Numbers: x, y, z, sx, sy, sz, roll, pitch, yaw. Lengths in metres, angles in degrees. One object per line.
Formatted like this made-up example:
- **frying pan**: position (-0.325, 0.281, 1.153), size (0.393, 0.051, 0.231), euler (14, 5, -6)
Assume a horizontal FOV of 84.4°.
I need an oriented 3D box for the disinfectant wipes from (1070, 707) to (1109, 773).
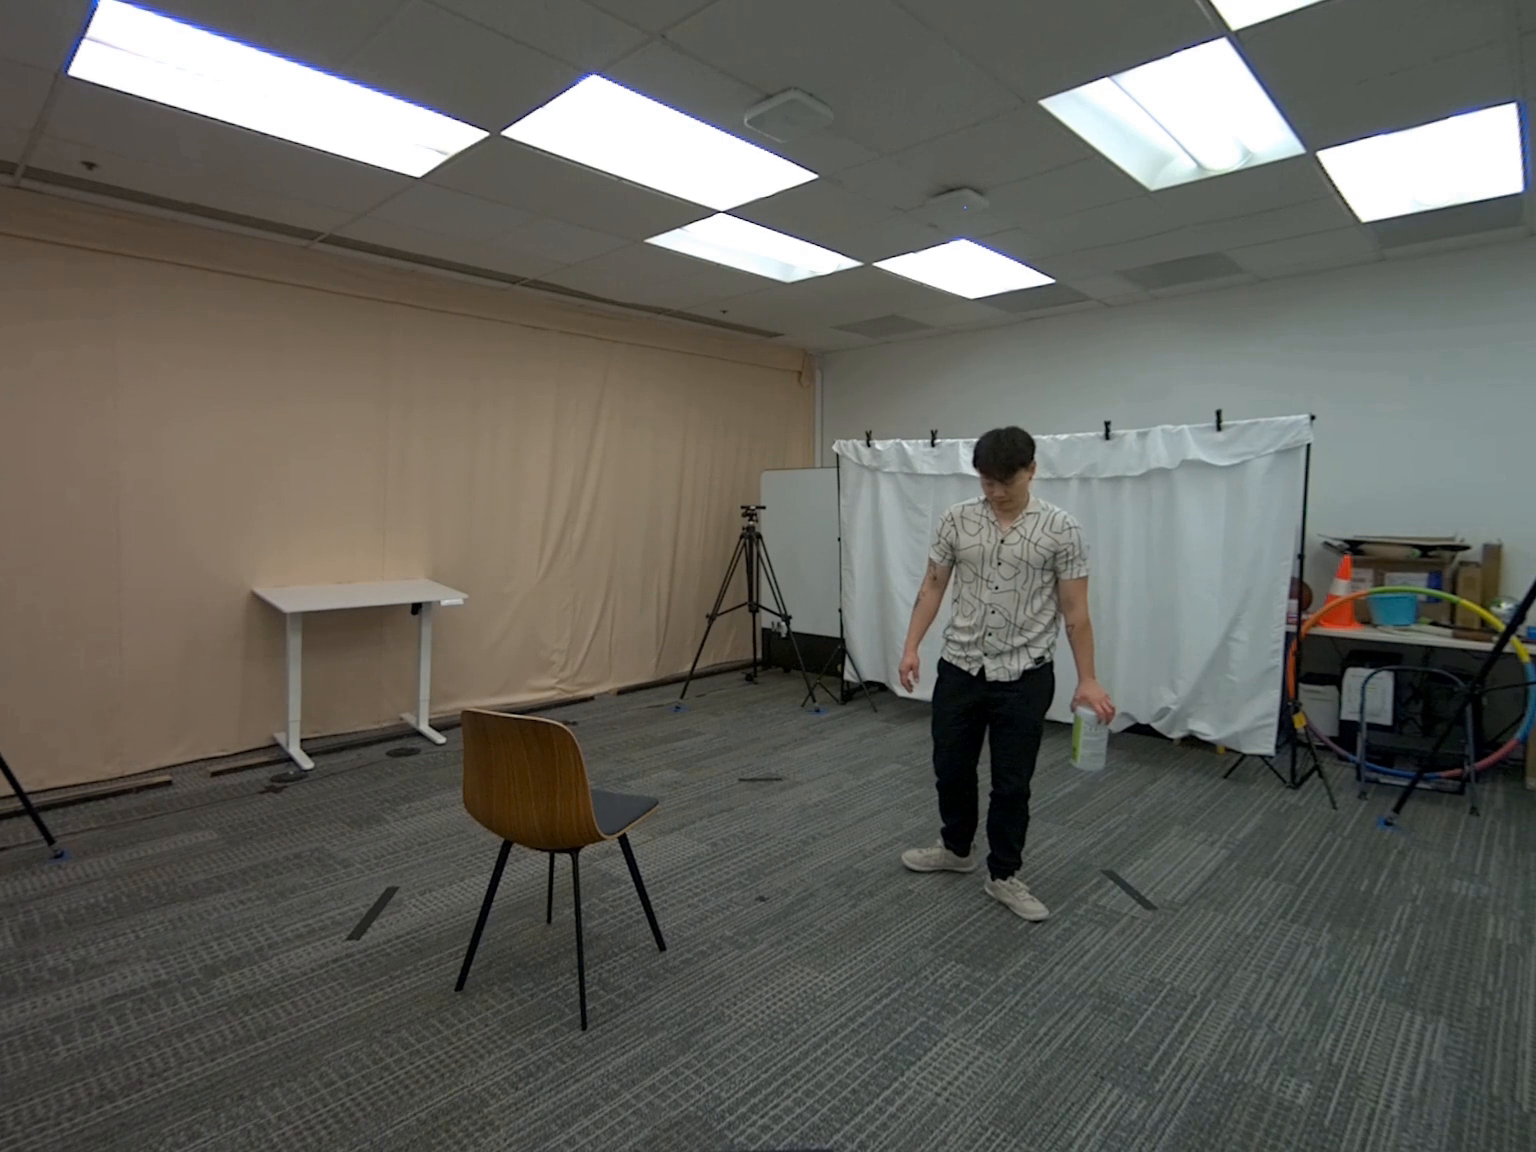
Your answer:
- **disinfectant wipes**: position (1.073, 0.528, 2.782), size (0.118, 0.215, 0.119), euler (-3, 13, -1)
